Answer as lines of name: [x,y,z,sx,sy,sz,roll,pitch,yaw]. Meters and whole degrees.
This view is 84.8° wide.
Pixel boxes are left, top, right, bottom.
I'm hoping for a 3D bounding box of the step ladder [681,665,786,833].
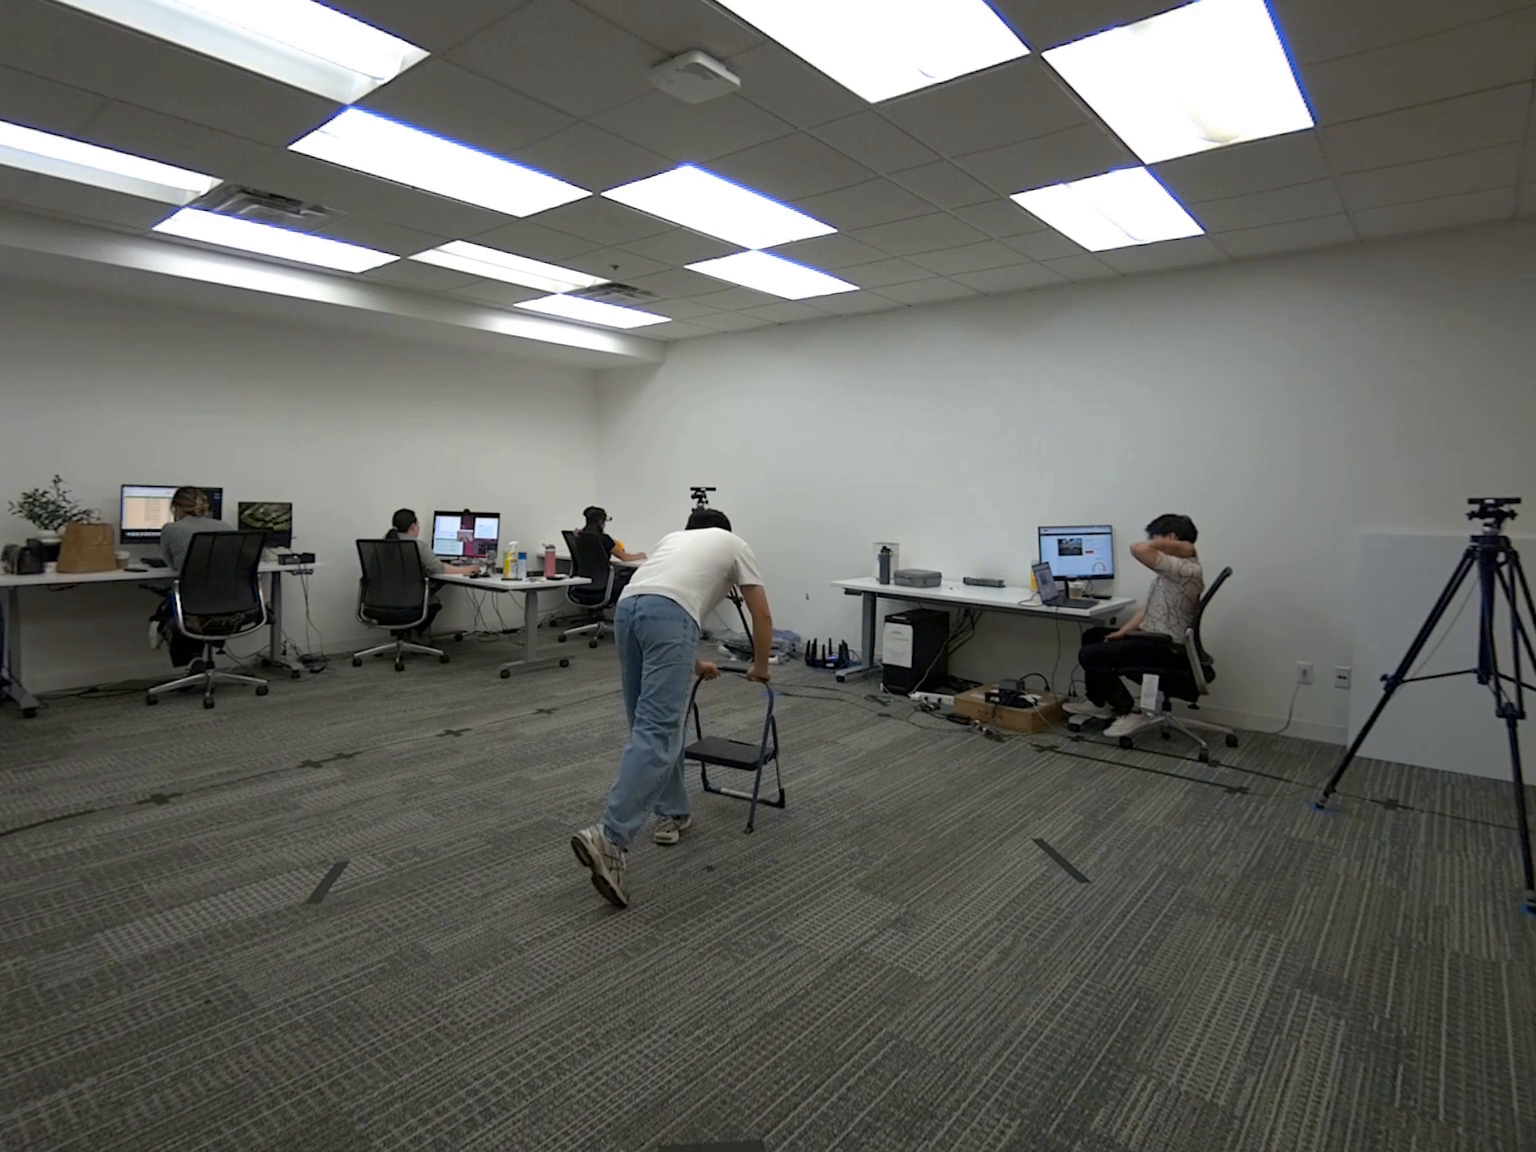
step ladder: [-0.182,0.707,3.675,0.443,0.604,0.340,3,3,28]
